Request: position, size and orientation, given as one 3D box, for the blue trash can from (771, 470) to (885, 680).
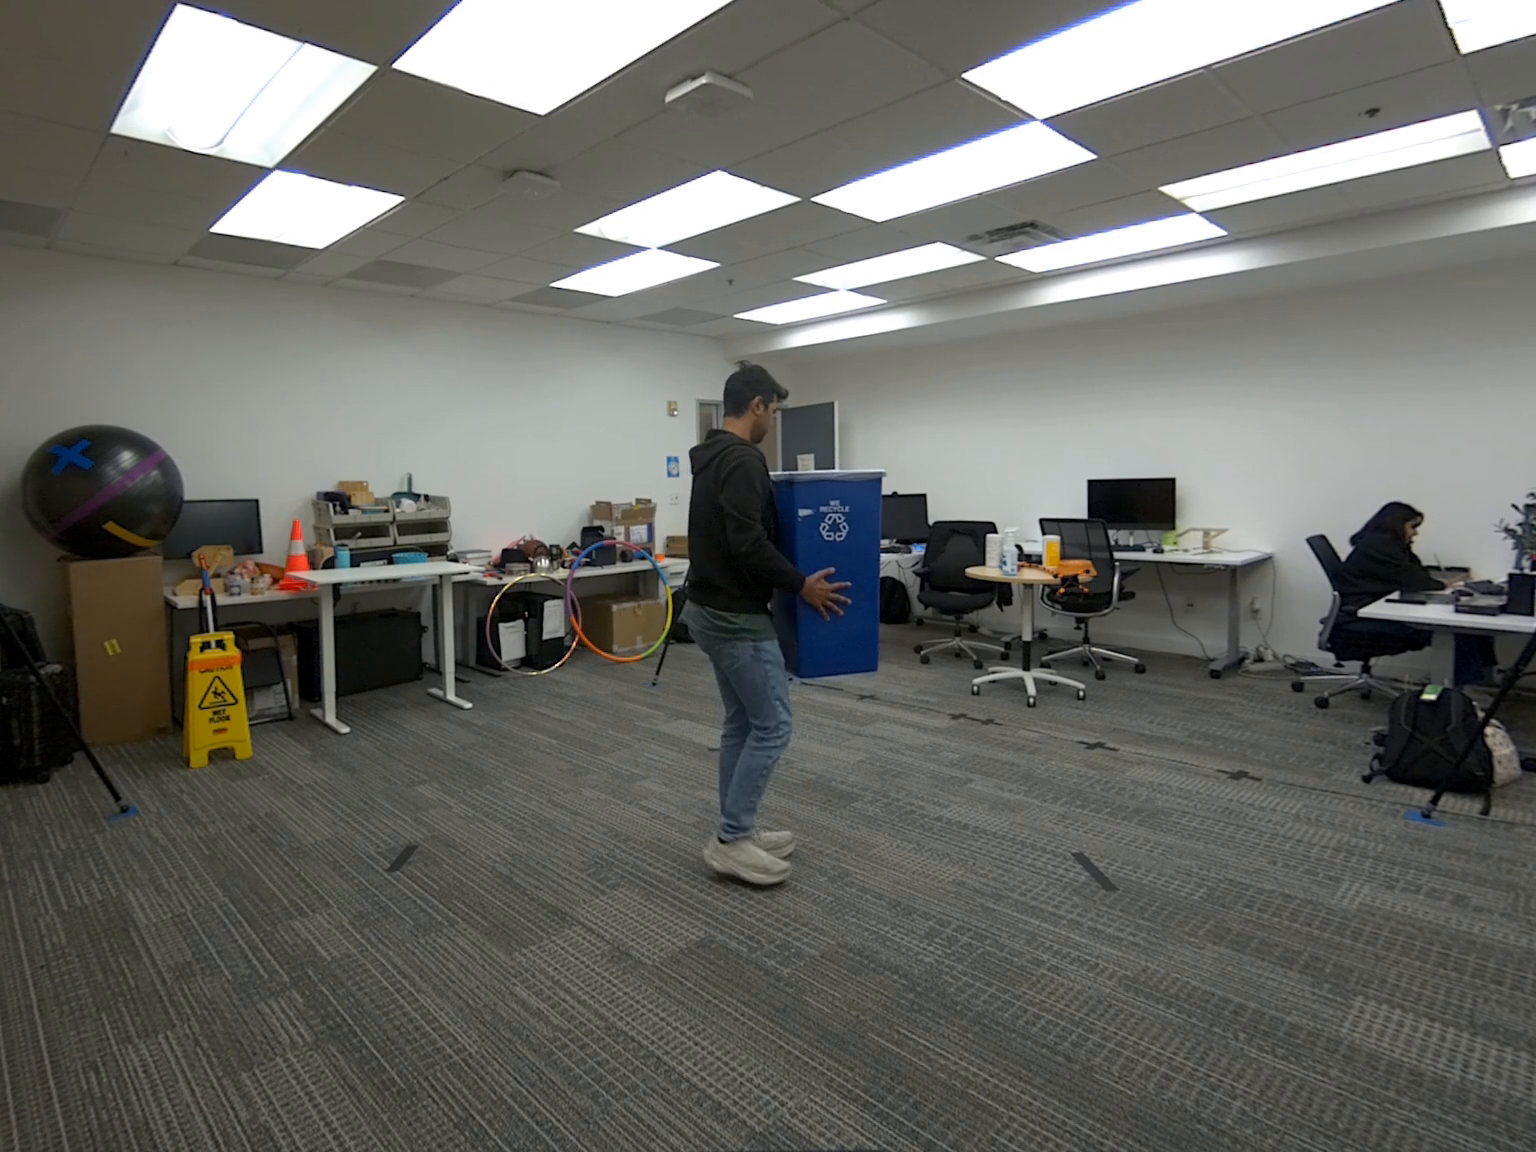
[{"bbox_3d":[0.198,-0.025,3.106,0.369,0.710,0.385,-3,5,-15],"label":"blue trash can"}]
